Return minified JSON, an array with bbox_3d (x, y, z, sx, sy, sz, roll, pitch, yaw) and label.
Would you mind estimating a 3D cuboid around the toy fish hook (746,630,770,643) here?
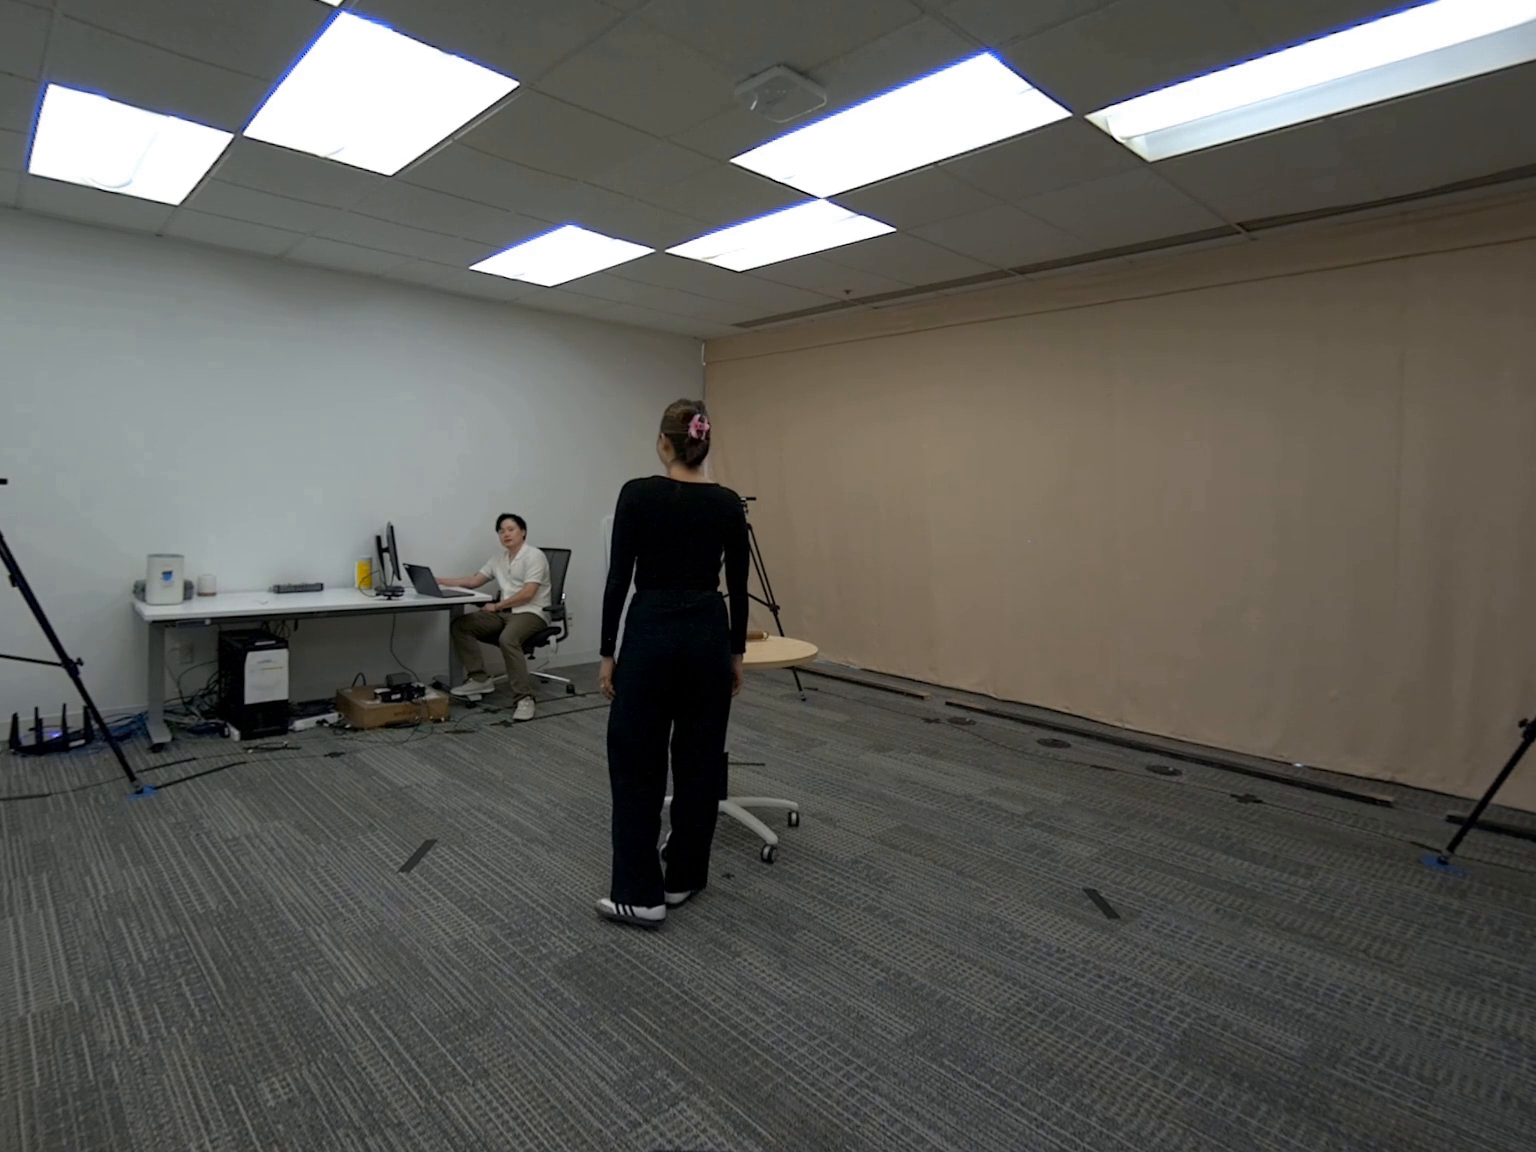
[{"bbox_3d":[-0.213,0.277,3.520,0.498,0.048,0.230,-1,12,-25],"label":"toy fish hook"}]
